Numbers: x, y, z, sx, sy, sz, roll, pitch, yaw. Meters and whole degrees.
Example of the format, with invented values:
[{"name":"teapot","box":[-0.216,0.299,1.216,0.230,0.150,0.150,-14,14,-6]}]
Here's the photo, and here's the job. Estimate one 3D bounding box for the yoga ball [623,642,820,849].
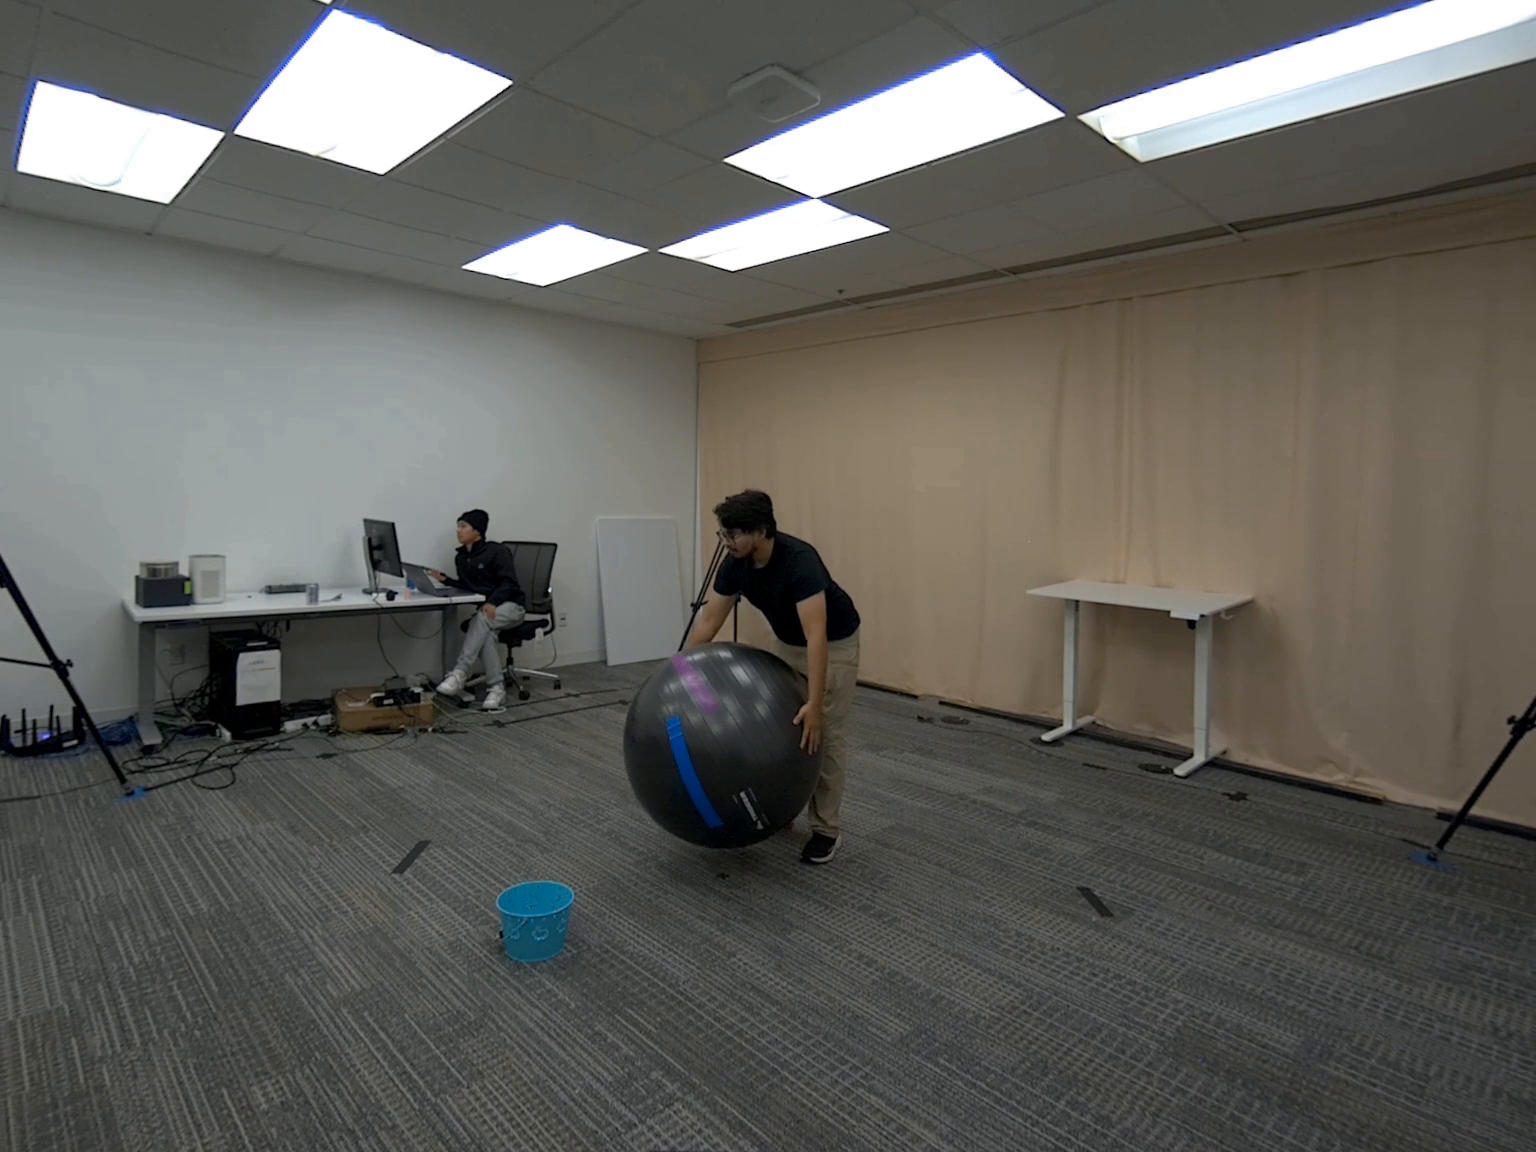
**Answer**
[{"name":"yoga ball","box":[-0.171,0.634,3.177,0.757,0.756,0.761,1,4,-1]}]
